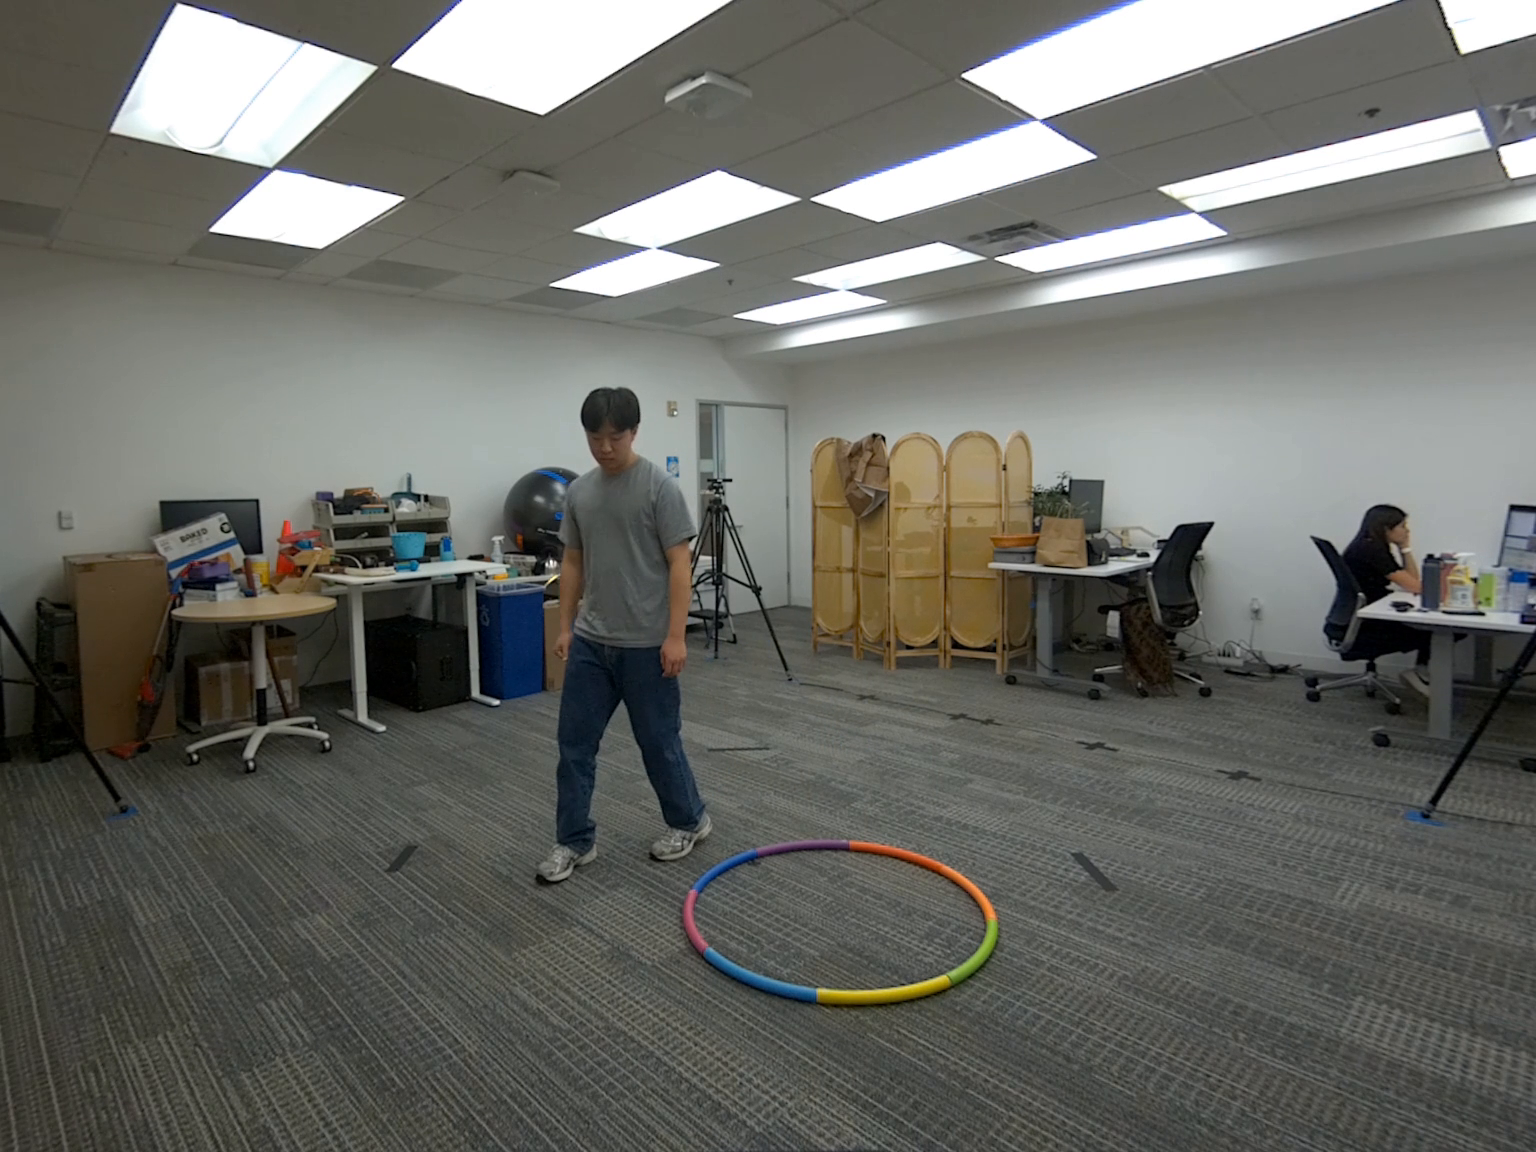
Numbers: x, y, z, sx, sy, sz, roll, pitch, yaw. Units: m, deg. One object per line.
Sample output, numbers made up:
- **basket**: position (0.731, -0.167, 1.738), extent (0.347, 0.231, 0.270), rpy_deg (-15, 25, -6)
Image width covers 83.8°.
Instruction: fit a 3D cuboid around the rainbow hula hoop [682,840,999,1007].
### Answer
- **rainbow hula hoop**: position (0.216, 1.055, 2.739), extent (0.978, 0.035, 0.984), rpy_deg (-1, 7, -2)
